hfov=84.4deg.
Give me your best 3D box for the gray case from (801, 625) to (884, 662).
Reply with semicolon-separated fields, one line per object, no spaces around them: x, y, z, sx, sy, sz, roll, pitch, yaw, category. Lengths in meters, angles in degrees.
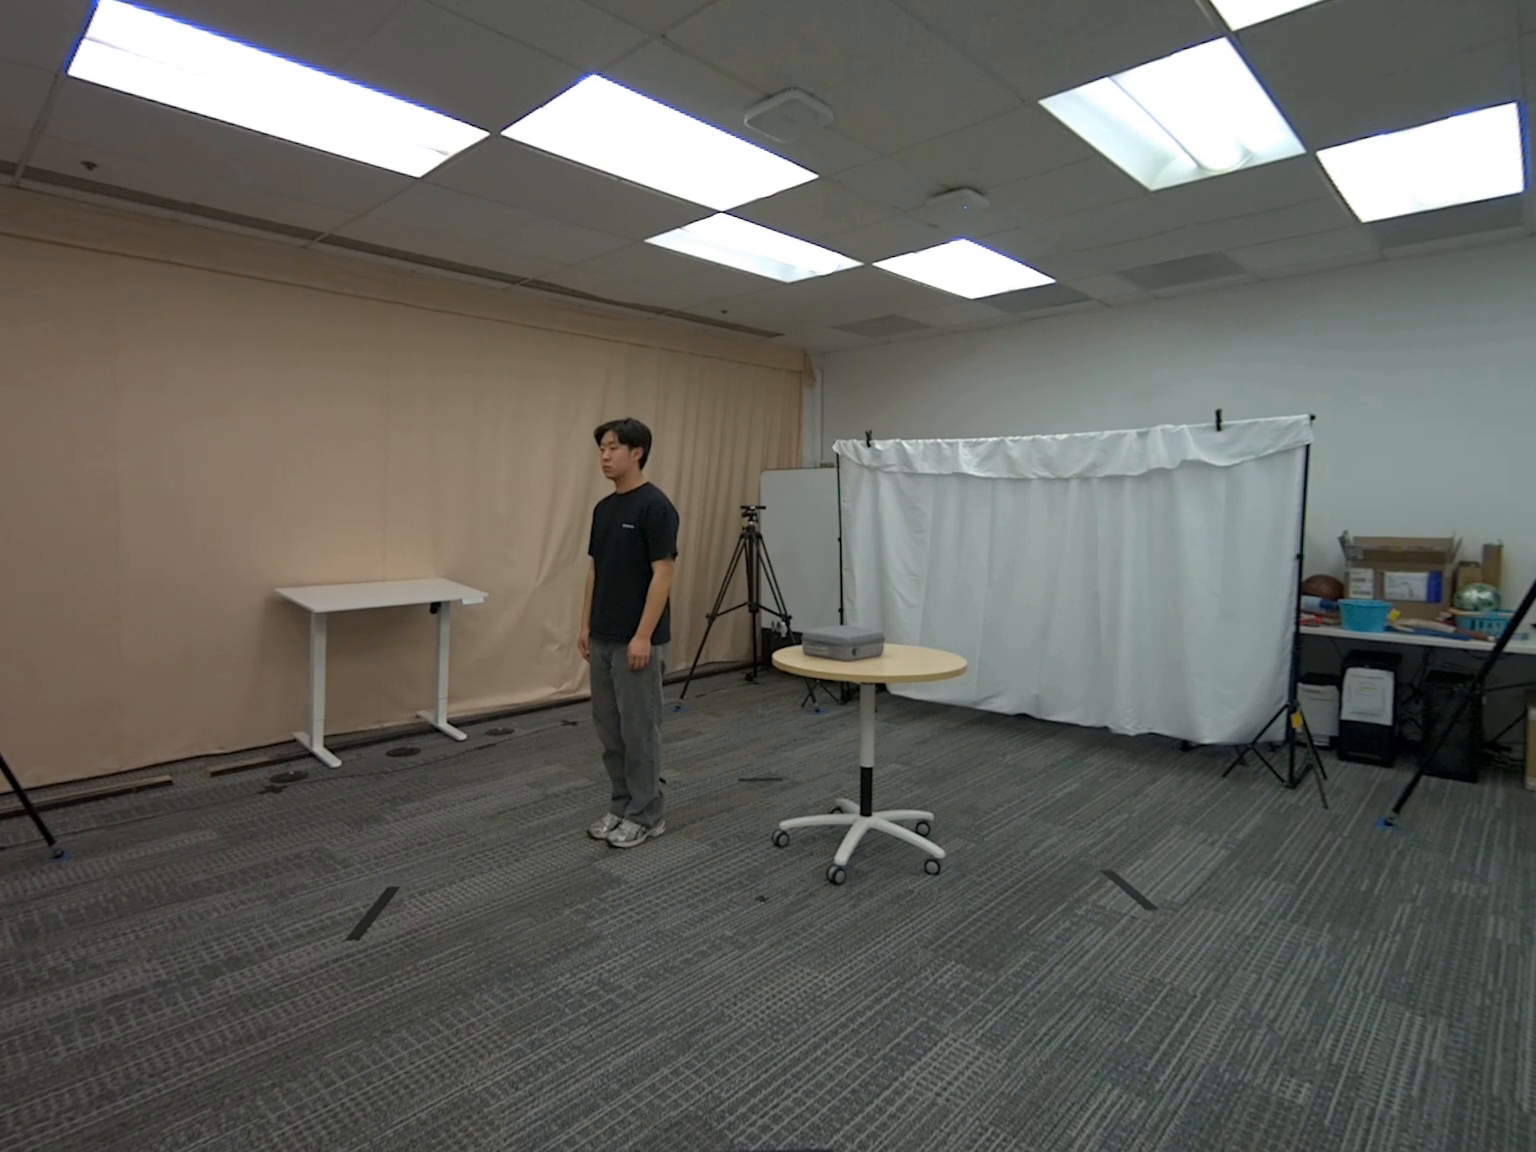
0.301;0.270;3.412;0.278;0.103;0.272;-5;6;-40;gray case
